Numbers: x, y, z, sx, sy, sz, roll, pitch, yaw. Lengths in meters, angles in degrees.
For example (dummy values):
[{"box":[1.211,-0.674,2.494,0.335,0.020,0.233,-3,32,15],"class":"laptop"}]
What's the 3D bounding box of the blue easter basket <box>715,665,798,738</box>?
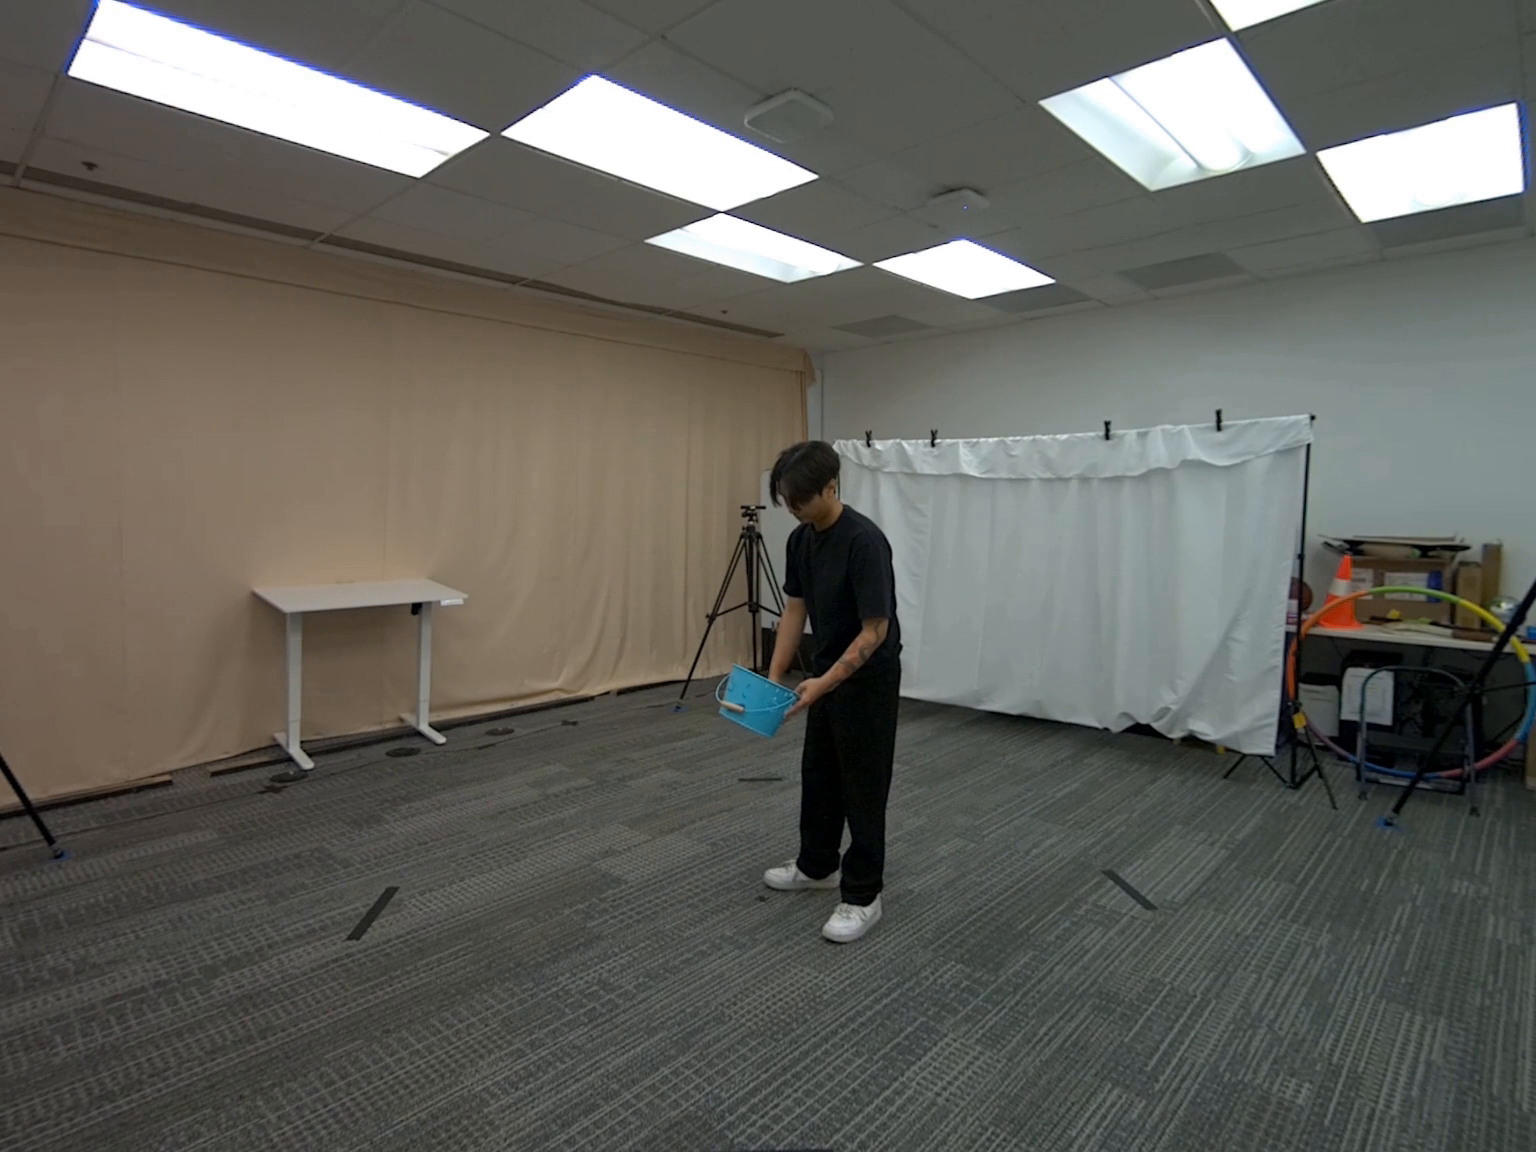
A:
[{"box":[-0.045,0.390,2.569,0.244,0.156,0.243,25,-6,1],"class":"blue easter basket"}]
